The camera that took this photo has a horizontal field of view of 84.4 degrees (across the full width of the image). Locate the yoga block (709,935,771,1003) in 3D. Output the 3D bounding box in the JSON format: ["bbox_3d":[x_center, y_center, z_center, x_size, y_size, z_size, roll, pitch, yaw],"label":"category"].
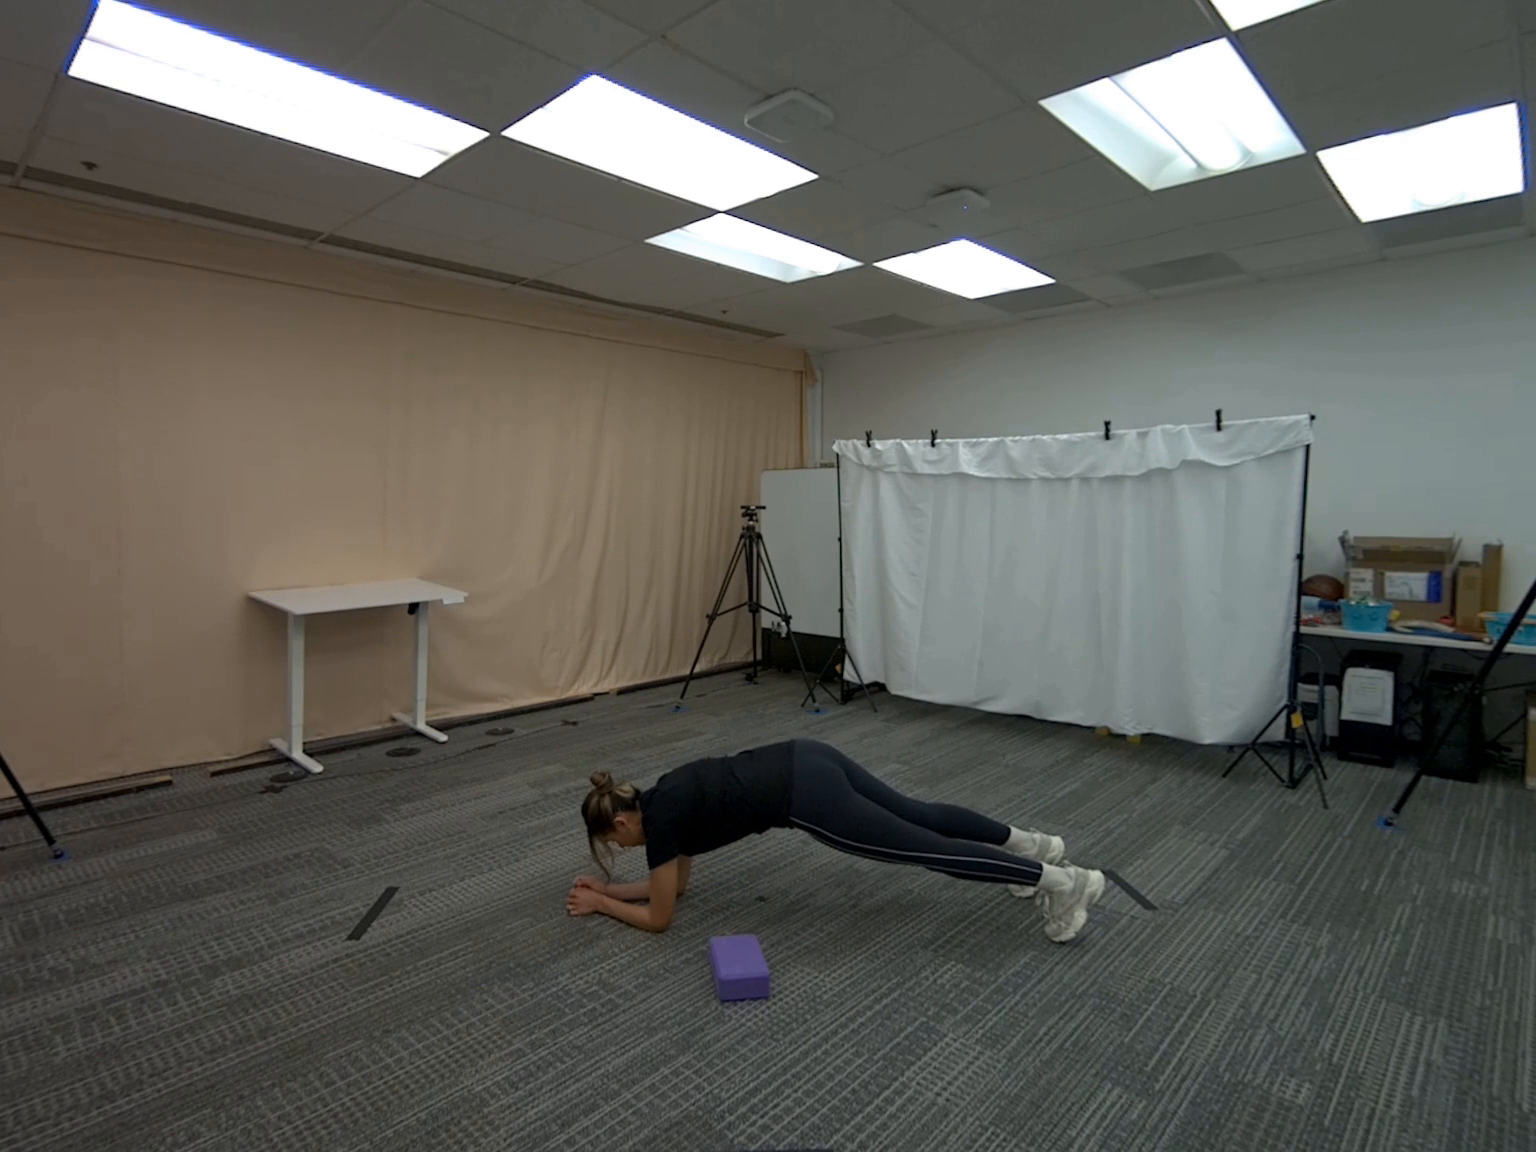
[{"bbox_3d":[-0.084,1.143,2.469,0.147,0.076,0.232,-1,3,-11],"label":"yoga block"}]
